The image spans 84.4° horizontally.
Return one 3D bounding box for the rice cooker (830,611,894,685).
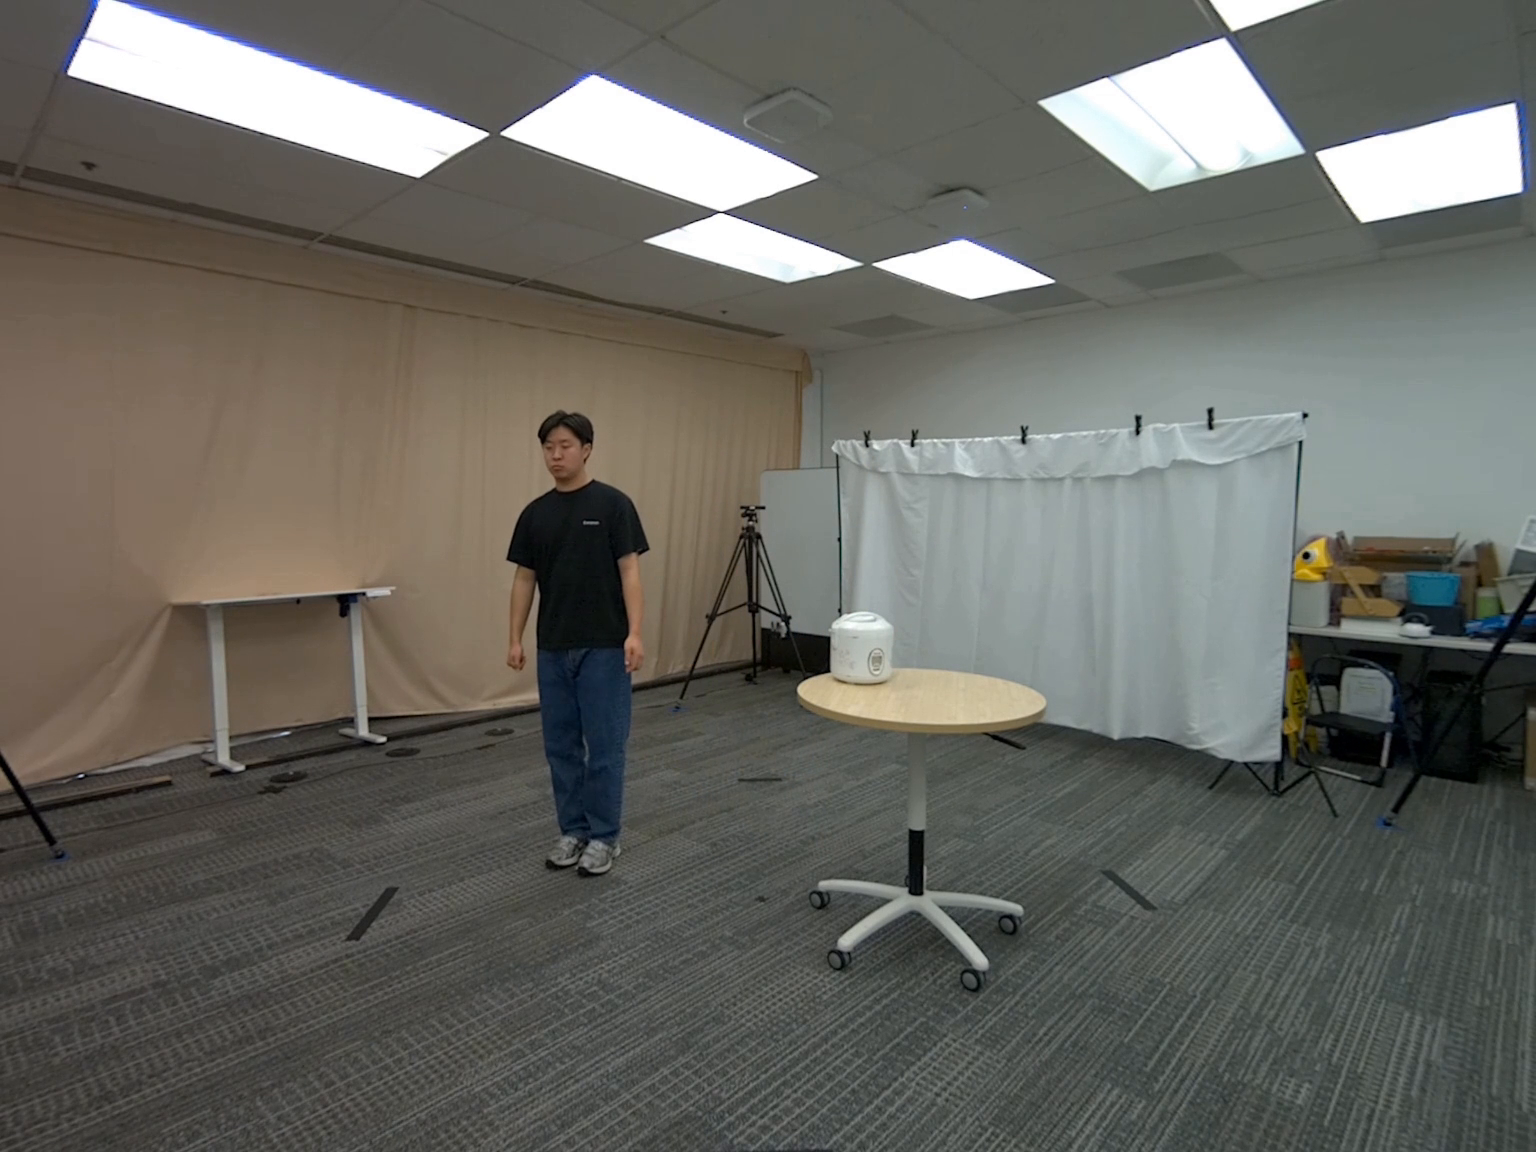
[{"bbox_3d":[0.325,0.239,2.864,0.216,0.232,0.222,-2,3,-20],"label":"rice cooker"}]
